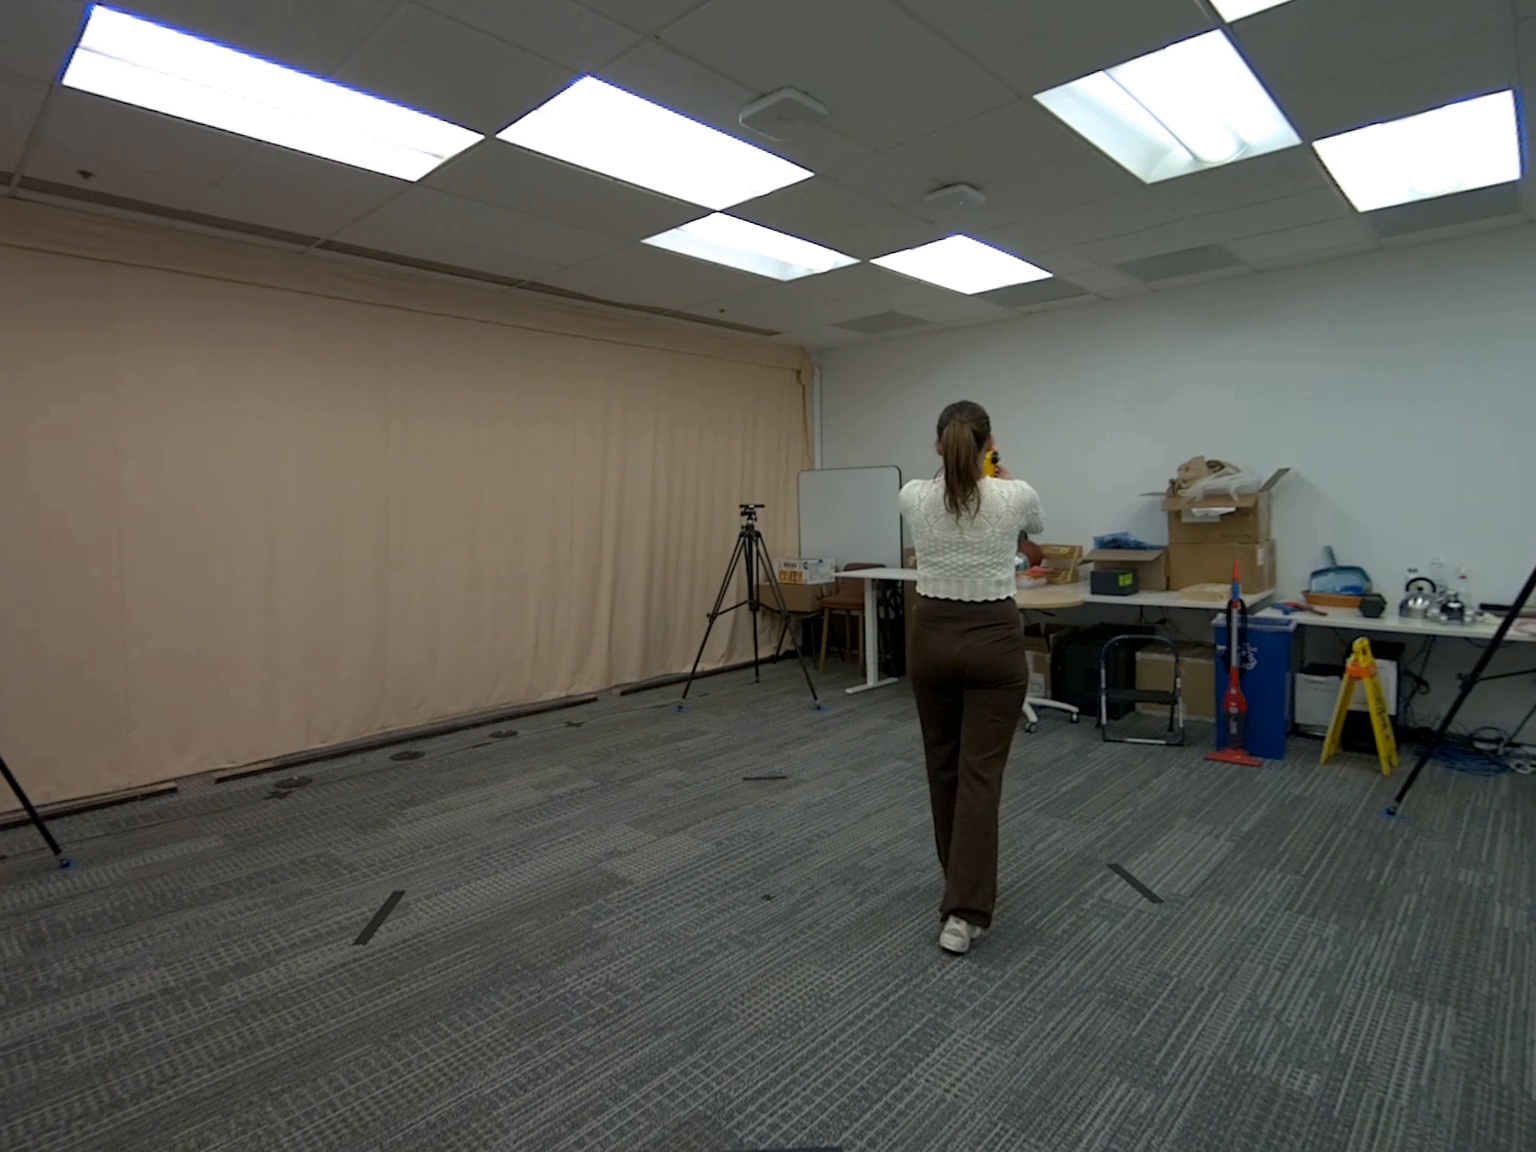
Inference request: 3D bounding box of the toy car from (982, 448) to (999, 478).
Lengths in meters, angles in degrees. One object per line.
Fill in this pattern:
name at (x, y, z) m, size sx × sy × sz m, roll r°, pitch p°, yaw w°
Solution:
toy car at (0.825, -0.372, 3.228) m, size 0.133 × 0.249 × 0.083 m, roll 5°, pitch 35°, yaw 16°
